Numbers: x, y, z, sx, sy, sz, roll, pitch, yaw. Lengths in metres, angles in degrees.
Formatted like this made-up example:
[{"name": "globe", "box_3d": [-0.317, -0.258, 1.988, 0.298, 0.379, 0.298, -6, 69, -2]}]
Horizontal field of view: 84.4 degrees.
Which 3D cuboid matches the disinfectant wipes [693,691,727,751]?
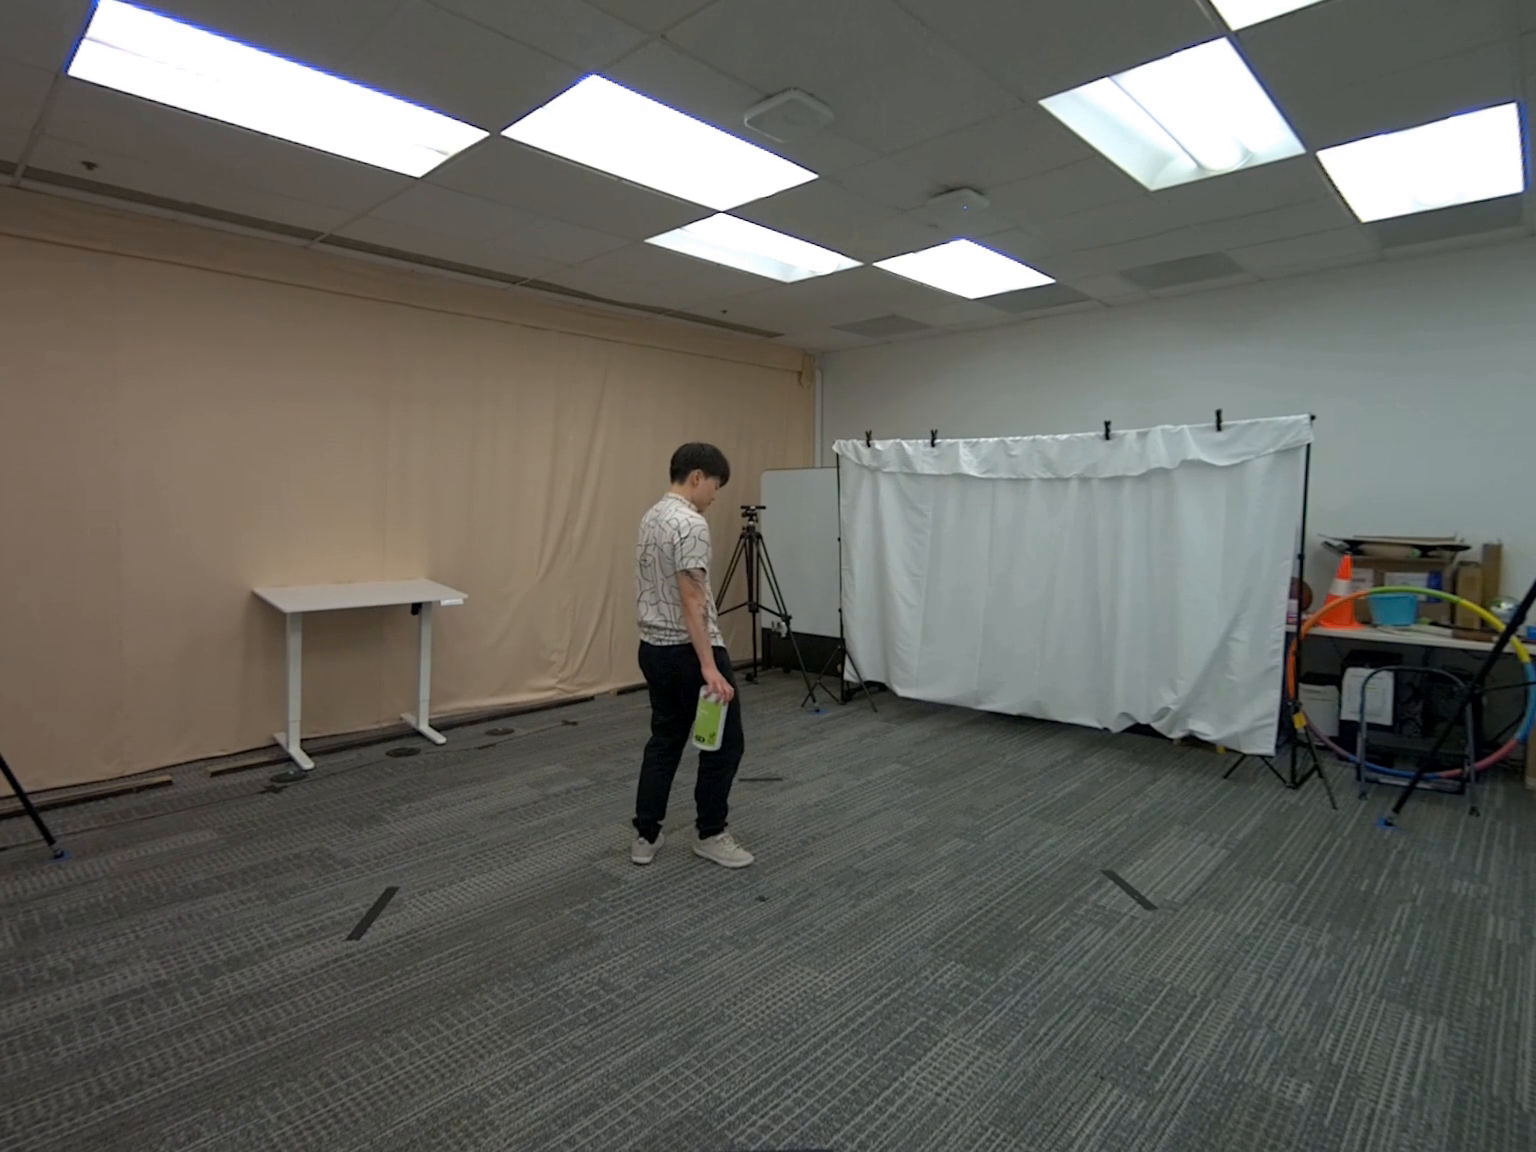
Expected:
[{"name": "disinfectant wipes", "box_3d": [-0.197, 0.510, 3.072, 0.117, 0.216, 0.118, 8, 8, -3]}]
